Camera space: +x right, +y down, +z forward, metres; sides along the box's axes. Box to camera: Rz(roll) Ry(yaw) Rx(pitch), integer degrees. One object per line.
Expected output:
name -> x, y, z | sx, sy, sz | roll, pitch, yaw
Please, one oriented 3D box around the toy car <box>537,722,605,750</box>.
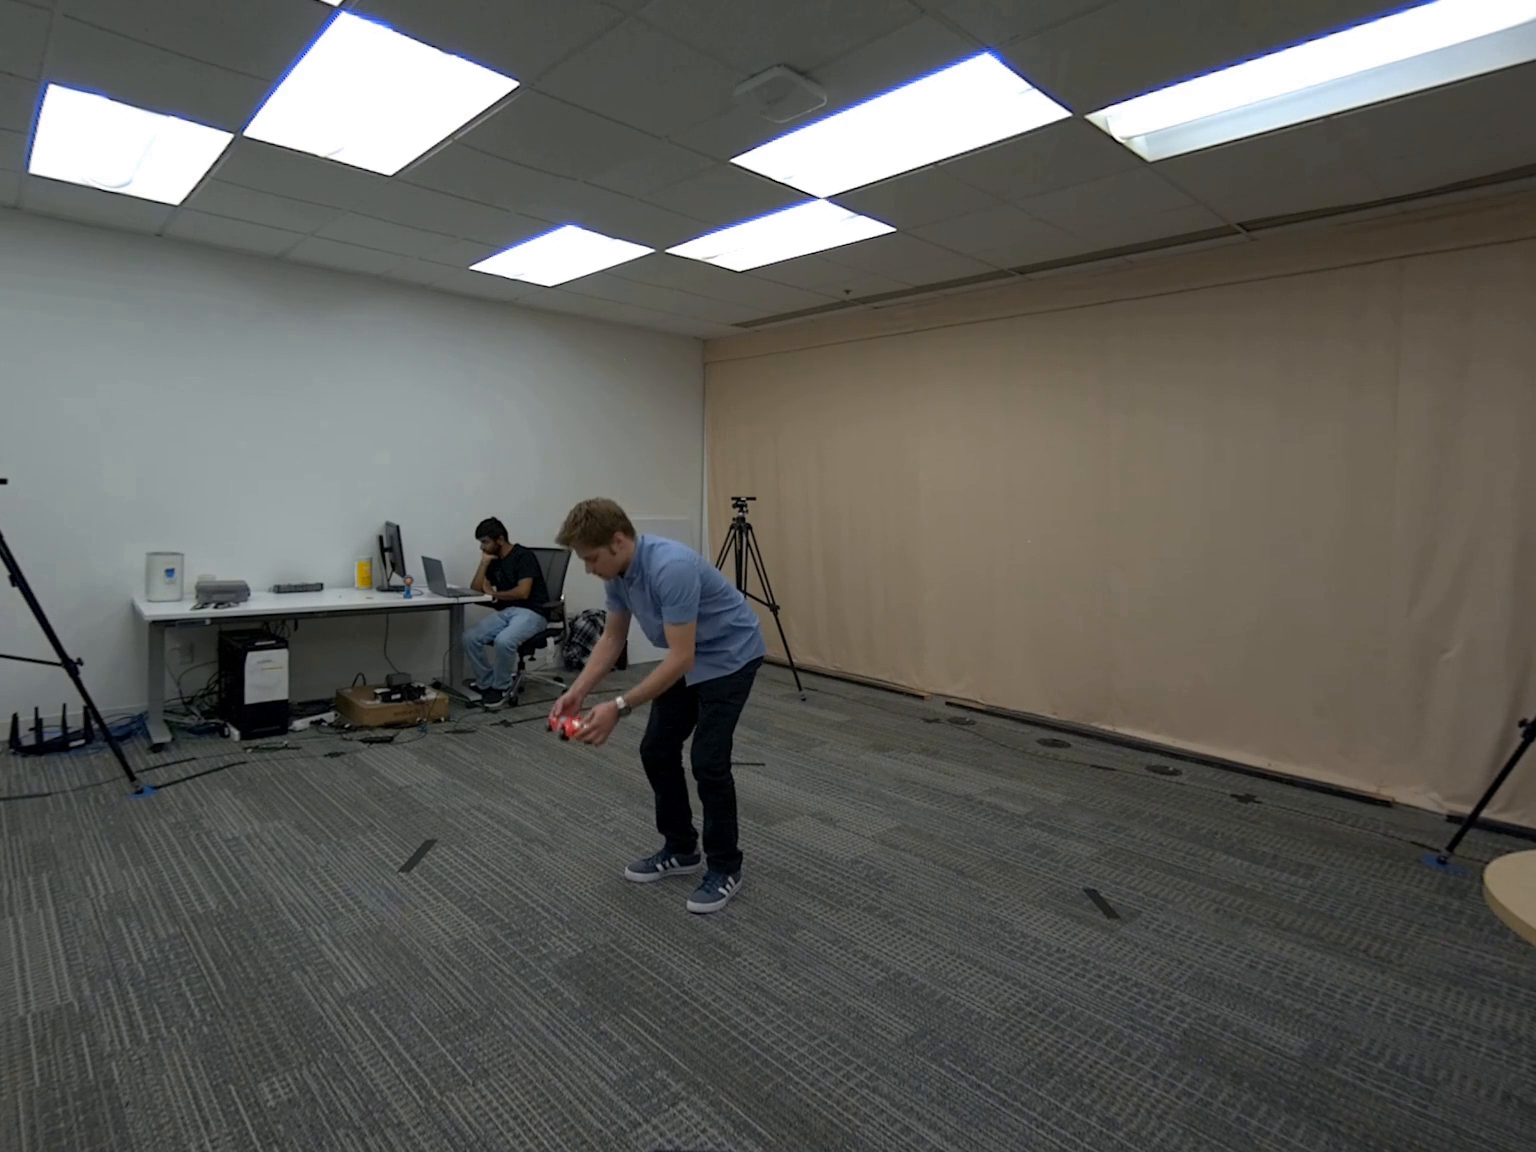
toy car -> -0.658, 0.532, 2.817 | 0.127, 0.084, 0.258 | 9, -14, -34
